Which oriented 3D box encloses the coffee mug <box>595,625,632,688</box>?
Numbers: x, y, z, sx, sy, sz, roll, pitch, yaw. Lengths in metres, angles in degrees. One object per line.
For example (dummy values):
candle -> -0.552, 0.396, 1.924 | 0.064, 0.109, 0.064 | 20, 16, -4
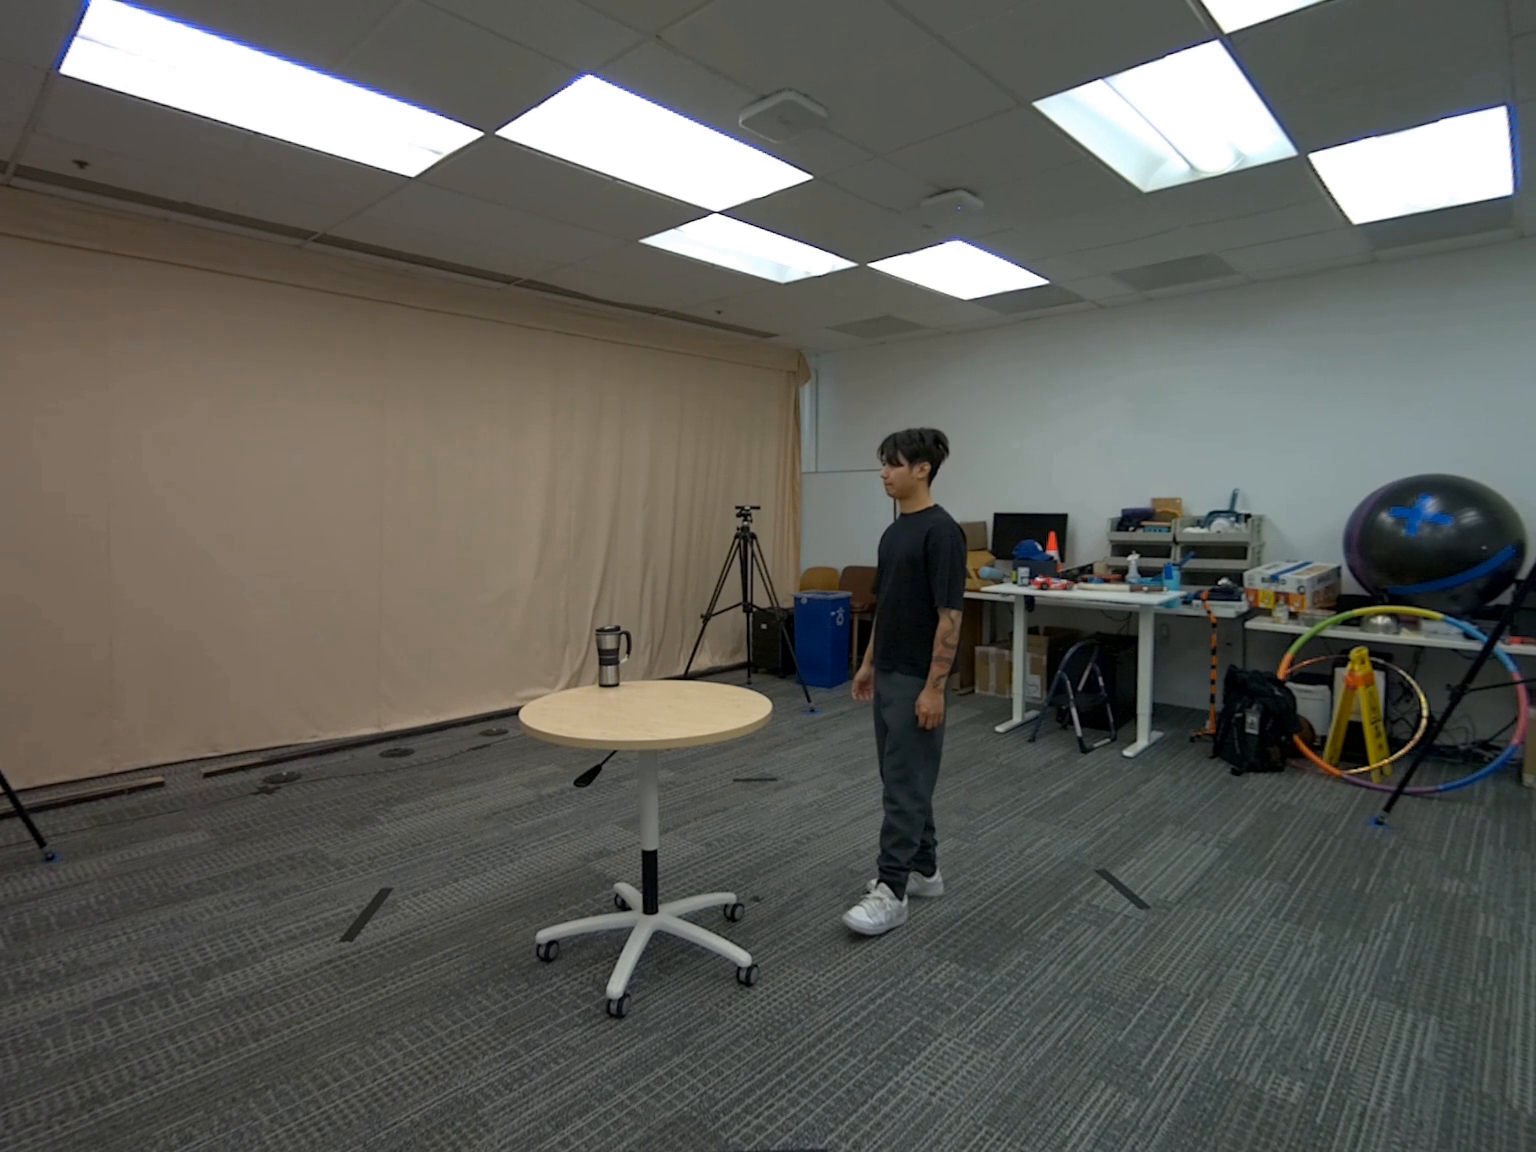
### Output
coffee mug -> -0.528, 0.277, 2.866 | 0.126, 0.203, 0.085 | -3, -2, 38
